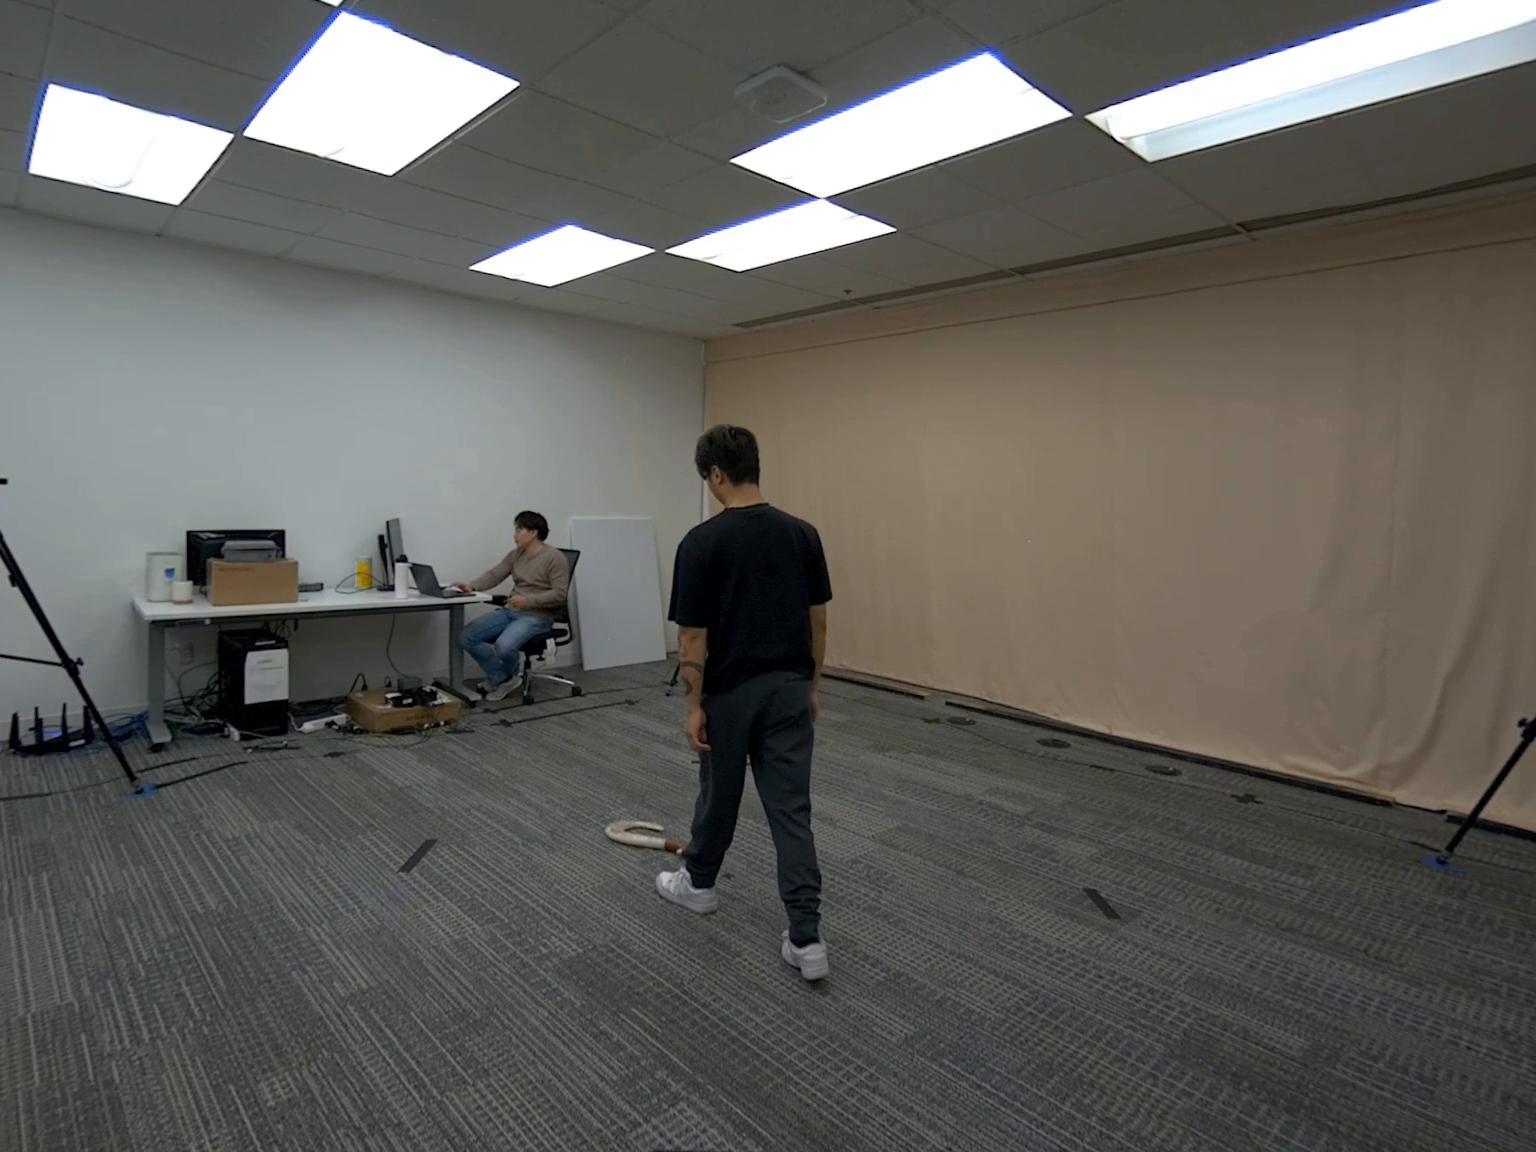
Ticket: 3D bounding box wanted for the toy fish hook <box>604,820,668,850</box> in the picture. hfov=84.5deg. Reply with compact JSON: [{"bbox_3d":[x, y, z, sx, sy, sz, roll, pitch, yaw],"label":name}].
[{"bbox_3d":[-0.430,1.053,3.383,0.518,0.048,0.220,5,7,31],"label":"toy fish hook"}]
